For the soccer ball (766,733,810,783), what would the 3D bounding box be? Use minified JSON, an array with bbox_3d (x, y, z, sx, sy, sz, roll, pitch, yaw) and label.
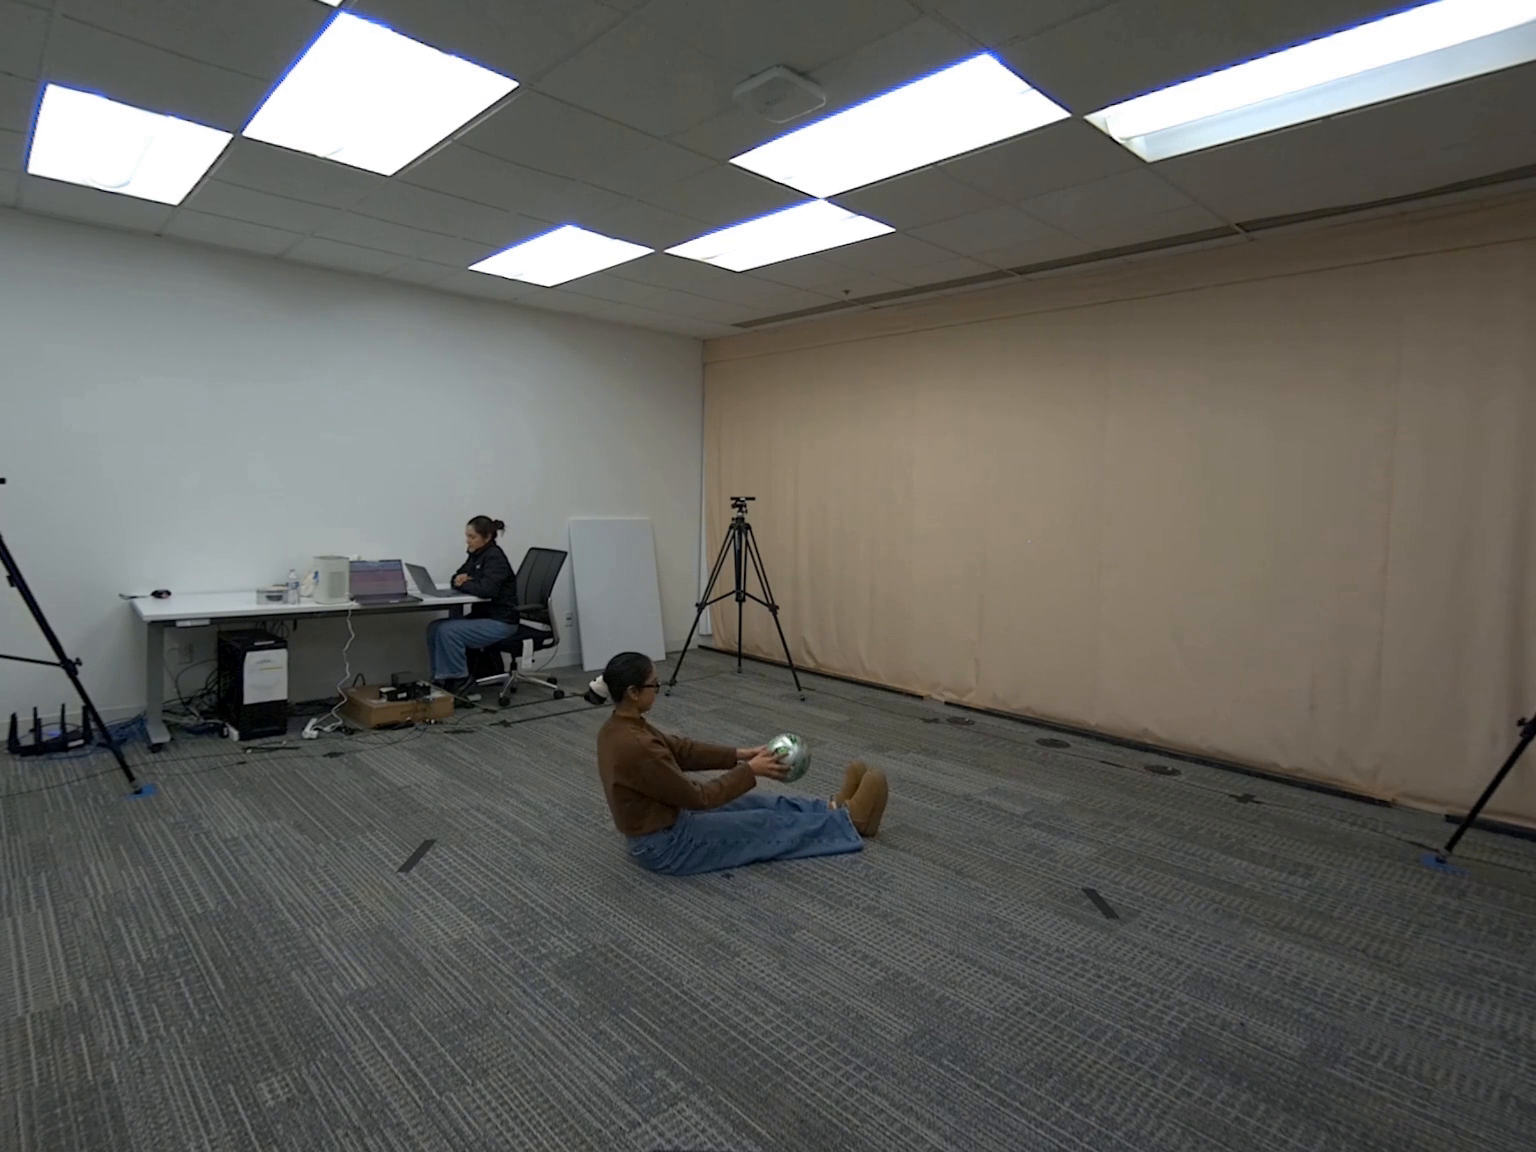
[{"bbox_3d":[0.064,0.723,3.296,0.187,0.187,0.188,1,4,-1],"label":"soccer ball"}]
